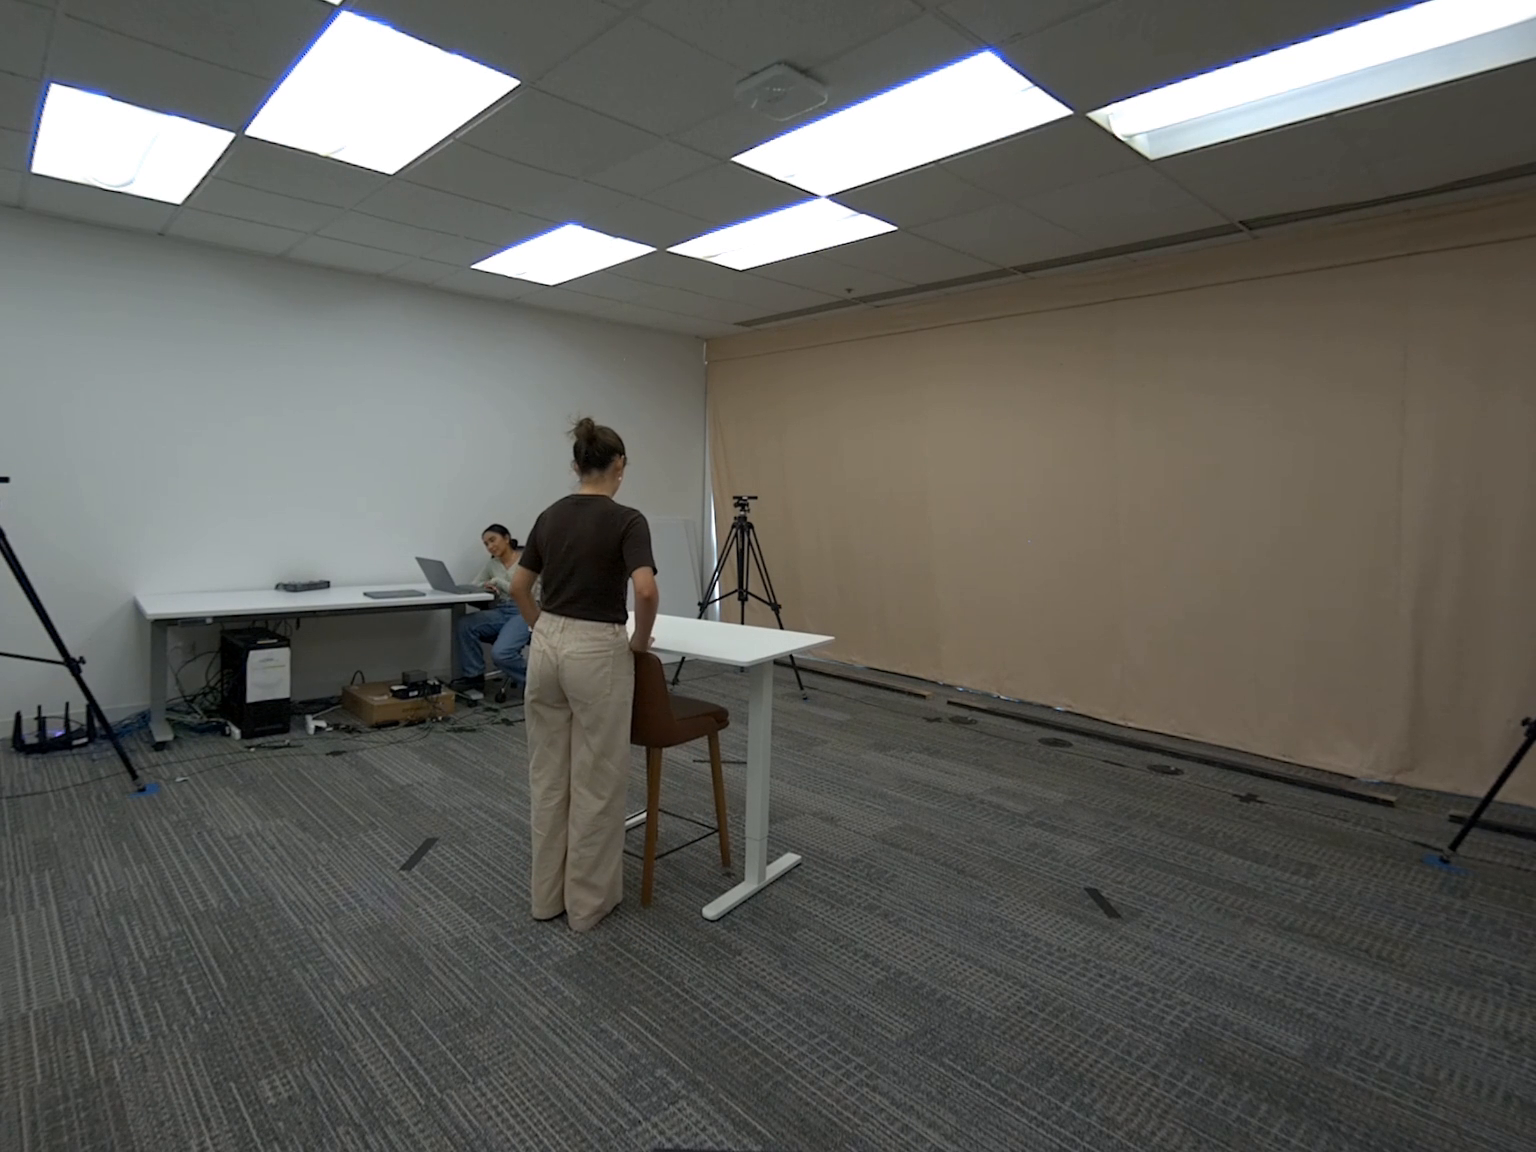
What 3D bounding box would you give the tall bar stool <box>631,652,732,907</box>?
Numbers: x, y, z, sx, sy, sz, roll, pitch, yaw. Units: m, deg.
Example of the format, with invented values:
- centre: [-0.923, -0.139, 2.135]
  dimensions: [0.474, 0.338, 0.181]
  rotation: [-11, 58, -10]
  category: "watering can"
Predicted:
- centre: [-0.434, 0.665, 3.097]
  dimensions: [0.468, 0.886, 0.458]
  rotation: [4, 7, 36]
  category: "tall bar stool"
